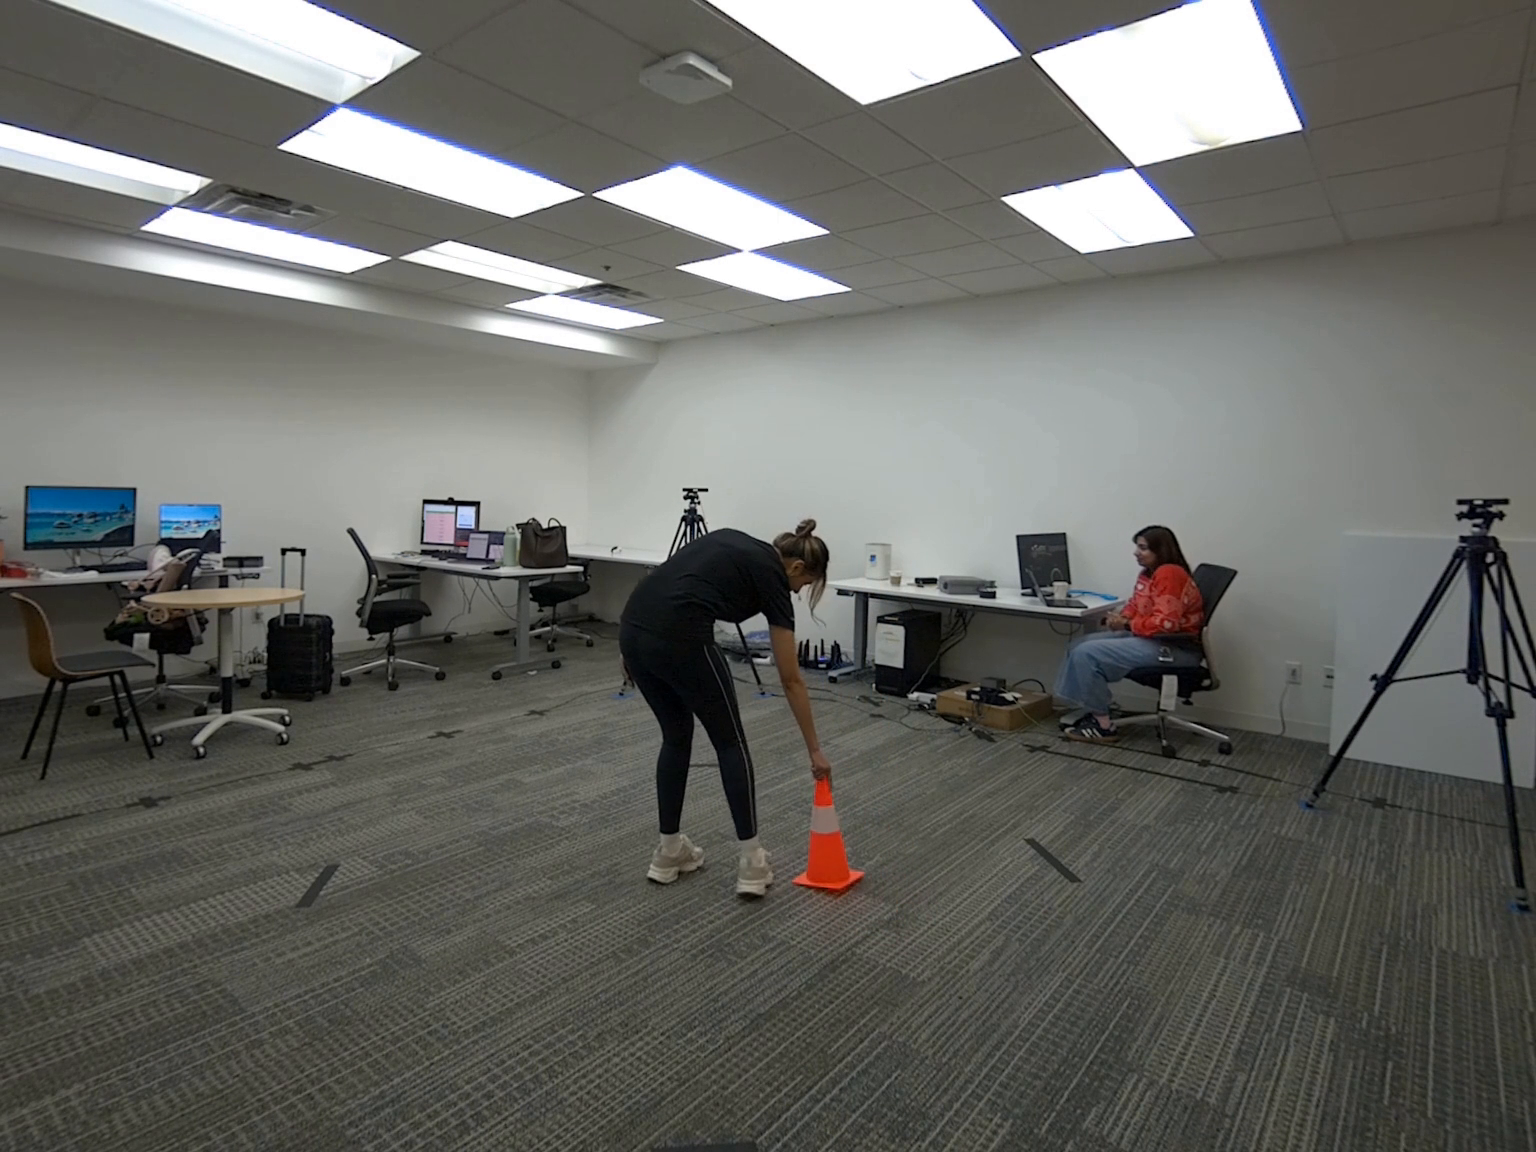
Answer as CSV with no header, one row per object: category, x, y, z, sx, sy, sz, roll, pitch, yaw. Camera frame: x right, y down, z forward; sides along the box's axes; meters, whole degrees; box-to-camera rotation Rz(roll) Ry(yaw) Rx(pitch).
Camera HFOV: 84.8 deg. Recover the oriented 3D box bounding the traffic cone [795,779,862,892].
traffic cone,0.202,0.896,3.046,0.211,0.385,0.197,-6,-5,40
